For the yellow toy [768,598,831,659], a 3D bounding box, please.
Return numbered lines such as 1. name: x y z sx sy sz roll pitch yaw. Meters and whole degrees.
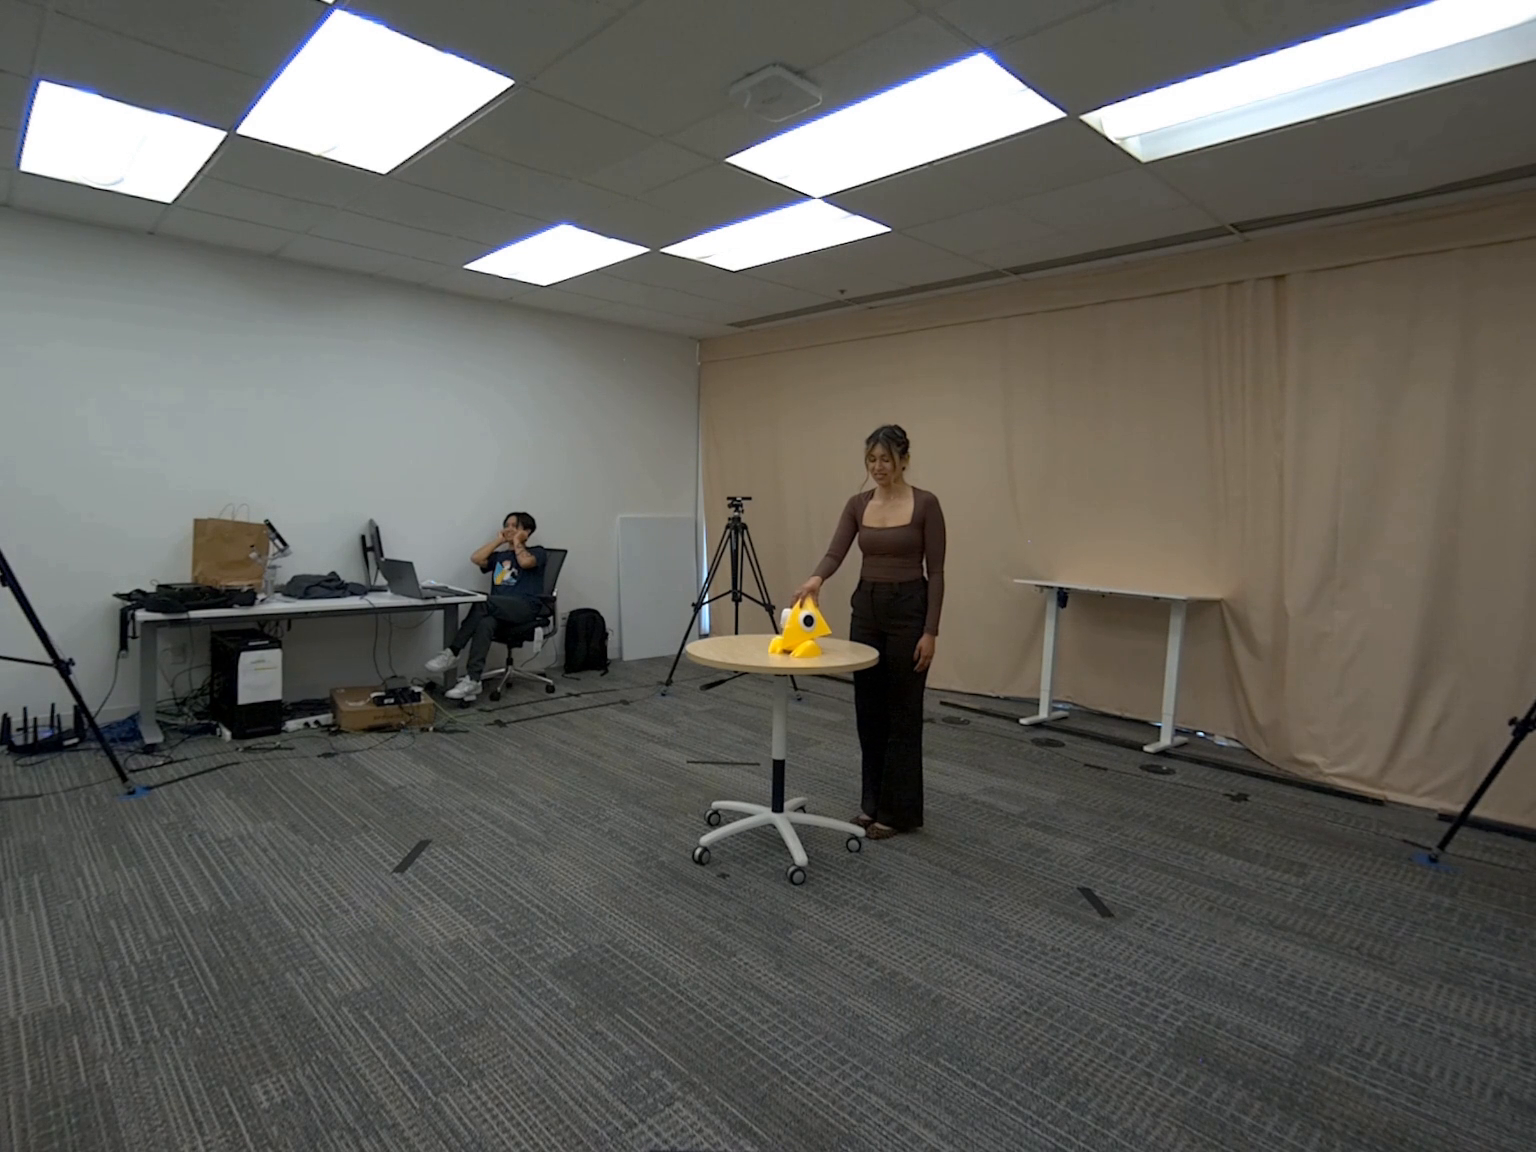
1. yellow toy: 0.107 0.184 3.278 0.210 0.230 0.189 4 5 40
